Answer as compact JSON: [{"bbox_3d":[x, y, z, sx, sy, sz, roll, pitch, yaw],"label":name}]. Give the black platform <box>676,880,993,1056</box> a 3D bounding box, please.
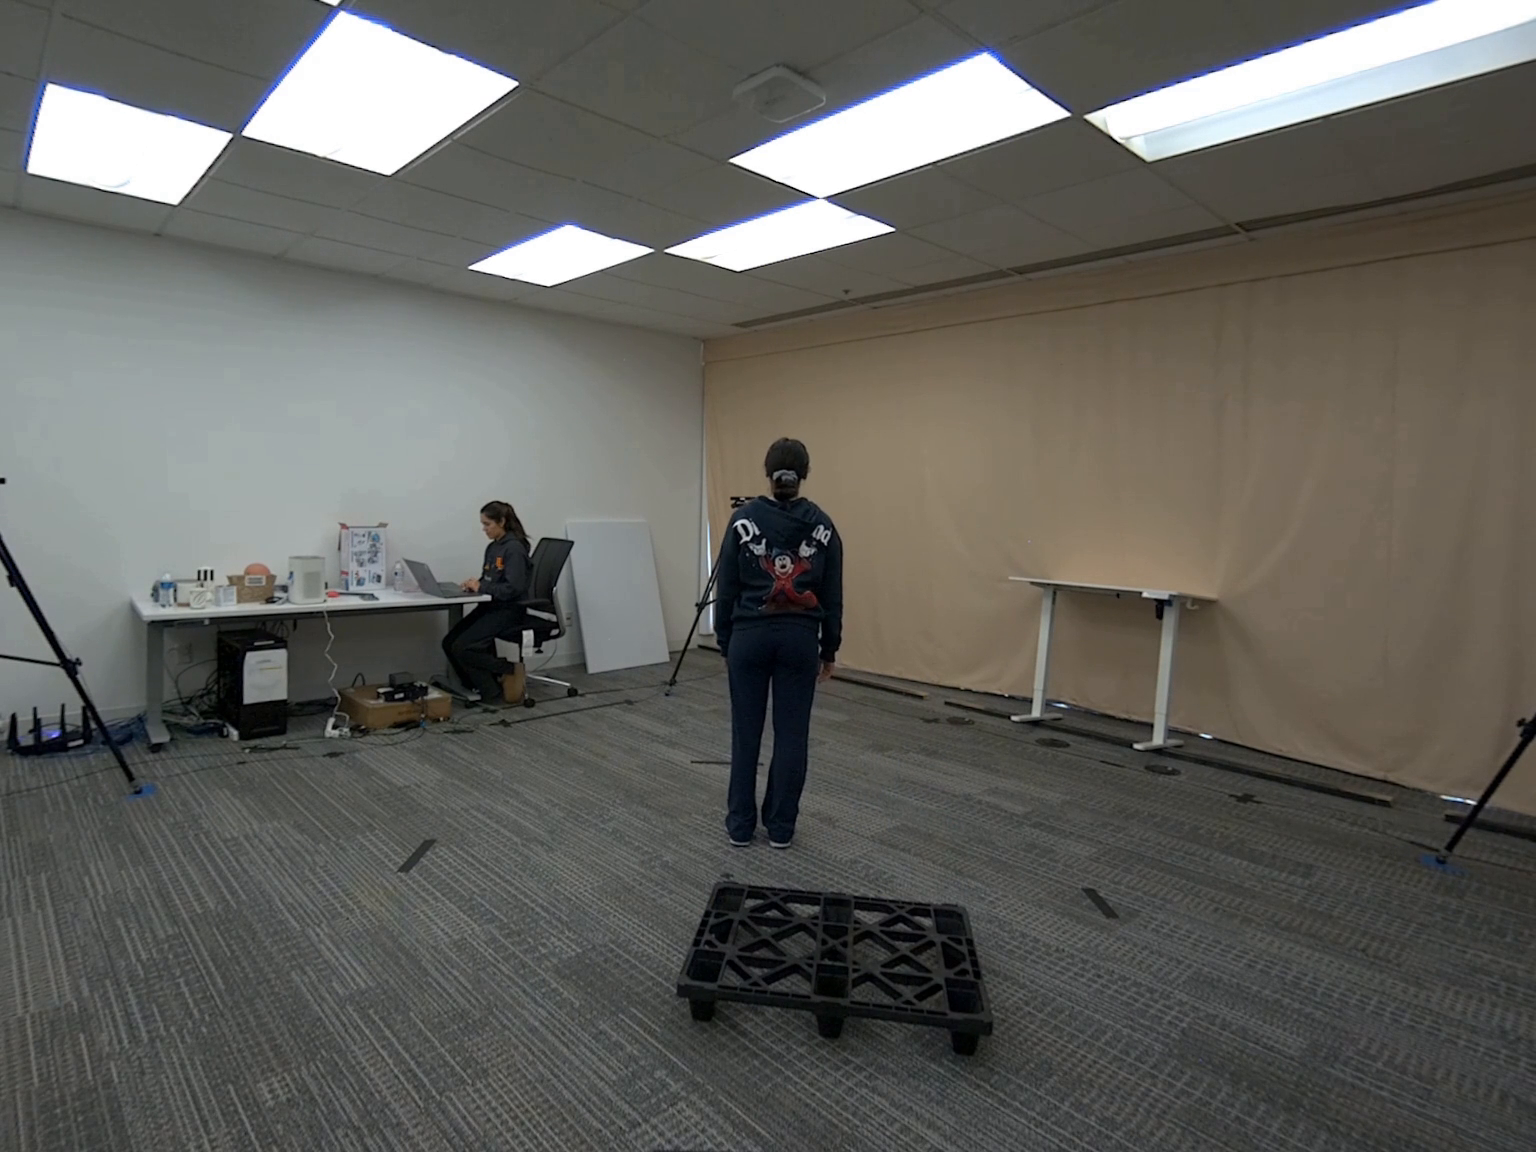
[{"bbox_3d":[0.190,1.111,2.410,0.811,0.143,0.603,2,6,8],"label":"black platform"}]
